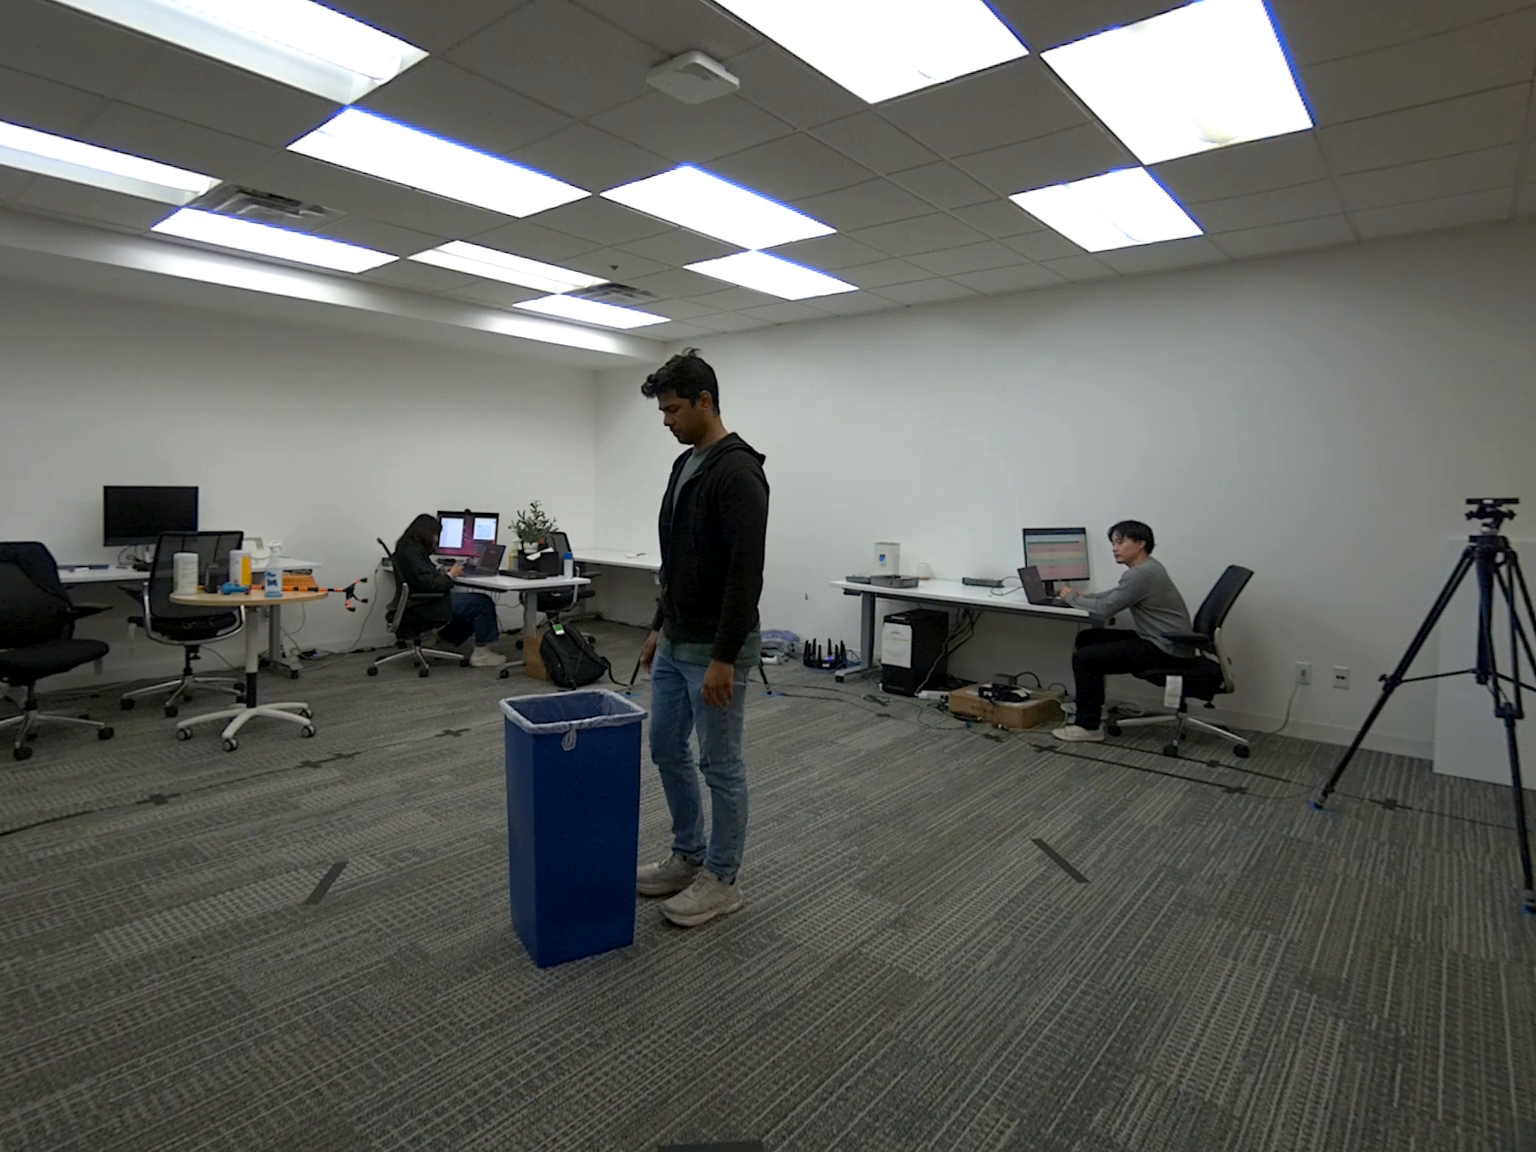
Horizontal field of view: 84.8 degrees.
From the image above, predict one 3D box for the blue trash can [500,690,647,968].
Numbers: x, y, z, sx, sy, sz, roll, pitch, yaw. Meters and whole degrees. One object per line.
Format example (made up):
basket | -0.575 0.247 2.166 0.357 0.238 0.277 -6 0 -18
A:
blue trash can | -0.623 0.750 2.624 0.368 0.711 0.385 -1 4 -31
